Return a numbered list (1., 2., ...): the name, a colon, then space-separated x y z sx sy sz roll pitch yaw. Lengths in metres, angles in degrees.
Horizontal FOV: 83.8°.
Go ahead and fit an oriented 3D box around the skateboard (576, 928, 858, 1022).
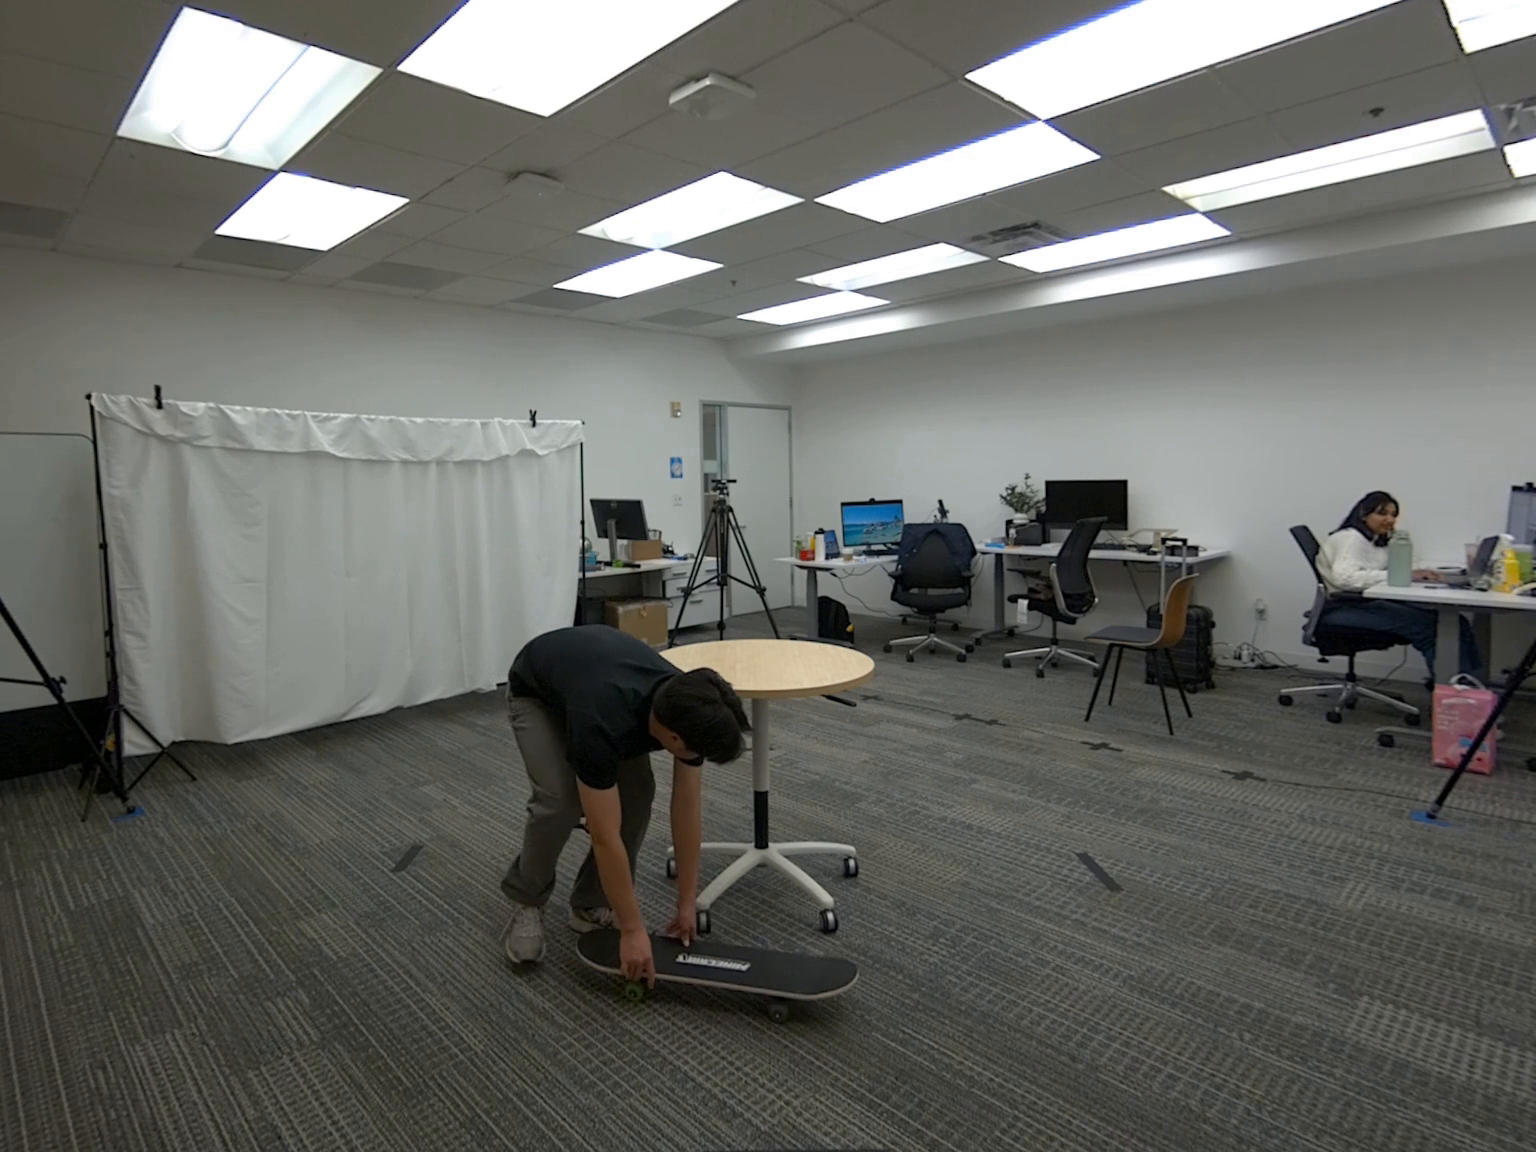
1. skateboard: -0.148 1.076 2.331 0.797 0.110 0.191 0 5 15
